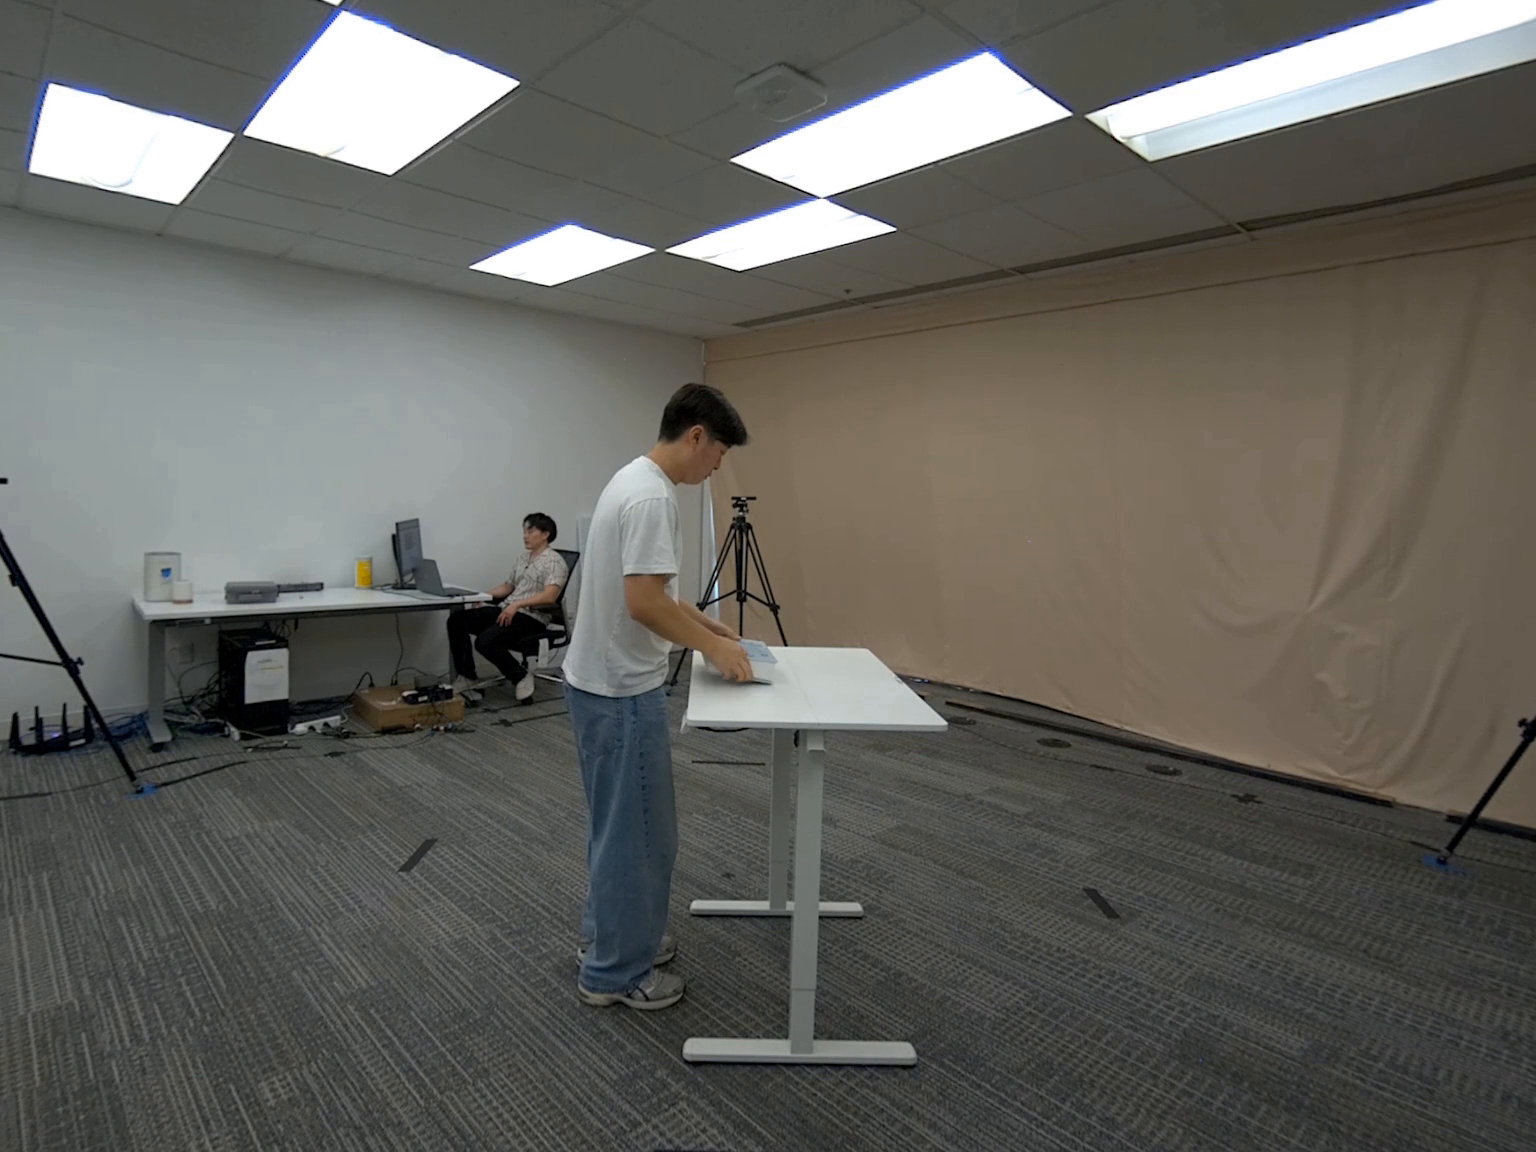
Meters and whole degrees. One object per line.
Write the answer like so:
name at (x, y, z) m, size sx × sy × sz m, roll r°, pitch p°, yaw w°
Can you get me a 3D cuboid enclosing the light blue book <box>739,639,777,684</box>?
light blue book at (-0.101, 0.236, 2.405) m, size 0.190 × 0.059 × 0.263 m, roll 5°, pitch 6°, yaw -7°
